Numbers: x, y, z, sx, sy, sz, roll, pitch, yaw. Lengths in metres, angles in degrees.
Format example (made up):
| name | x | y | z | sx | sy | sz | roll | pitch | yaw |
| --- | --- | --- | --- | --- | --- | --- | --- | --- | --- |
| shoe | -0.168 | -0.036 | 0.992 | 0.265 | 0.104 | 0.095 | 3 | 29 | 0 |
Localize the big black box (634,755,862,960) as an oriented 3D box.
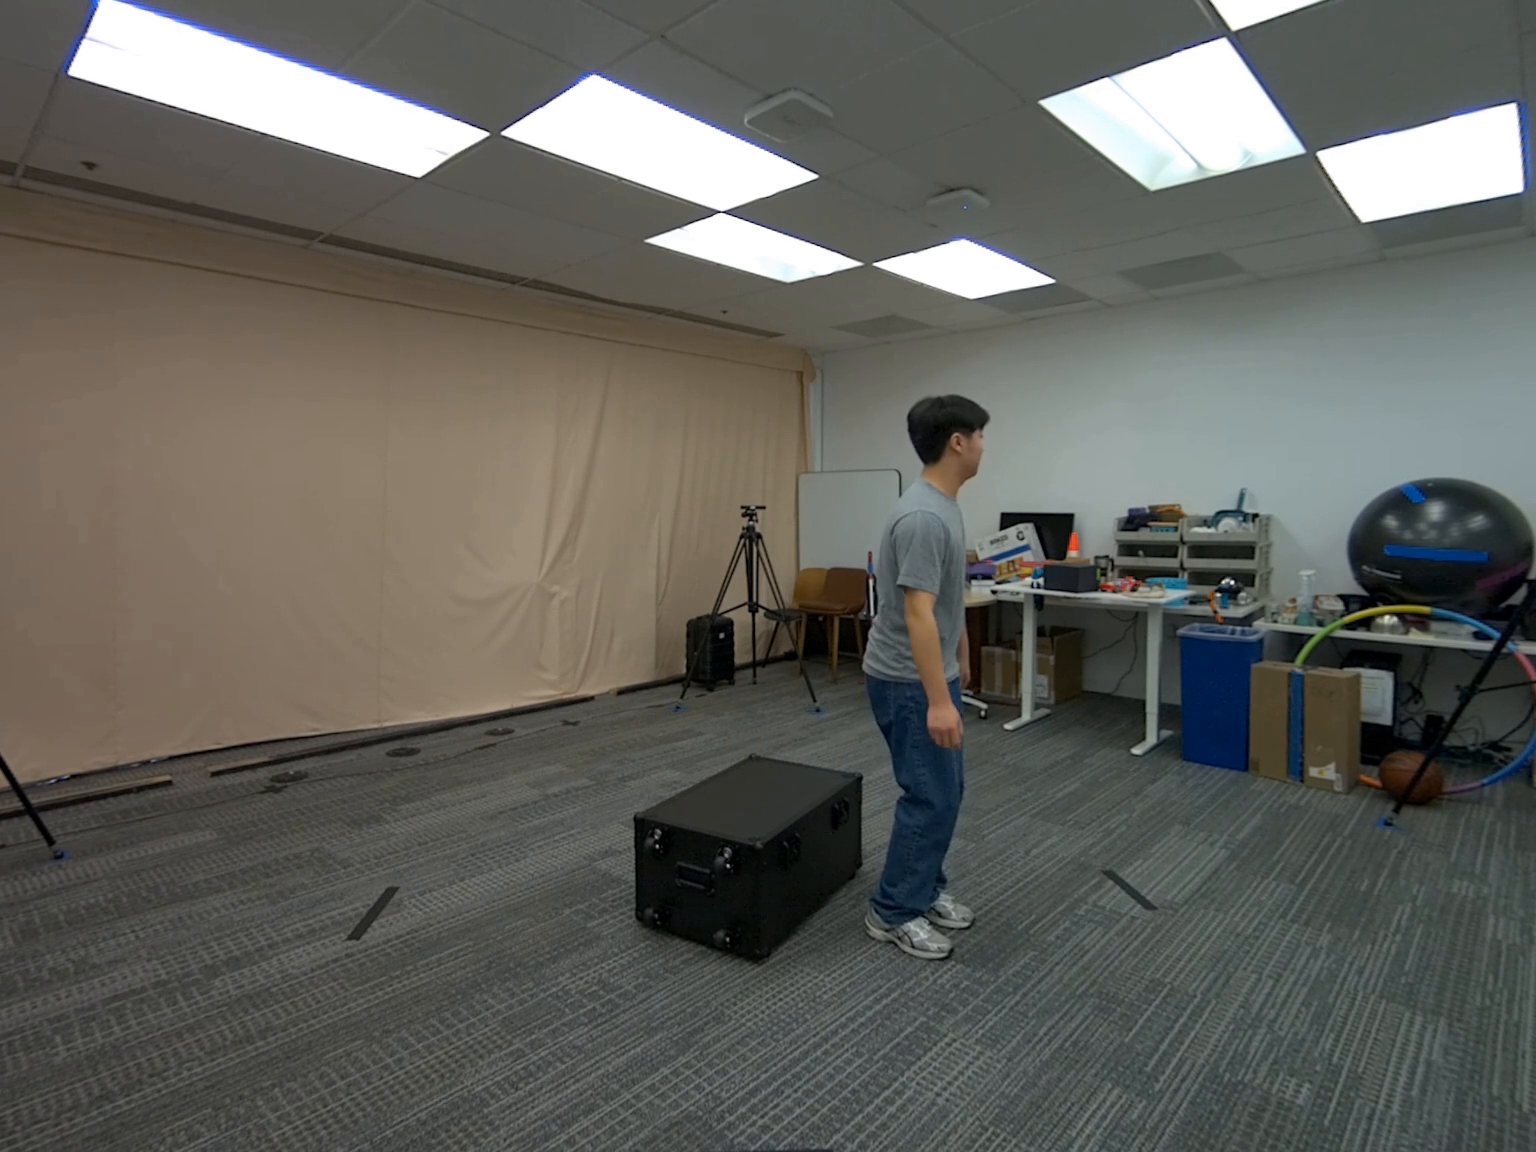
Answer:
| name | x | y | z | sx | sy | sz | roll | pitch | yaw |
| --- | --- | --- | --- | --- | --- | --- | --- | --- | --- |
| big black box | -0.057 | 0.954 | 2.954 | 0.536 | 0.395 | 0.838 | 3 | 5 | 30 |
